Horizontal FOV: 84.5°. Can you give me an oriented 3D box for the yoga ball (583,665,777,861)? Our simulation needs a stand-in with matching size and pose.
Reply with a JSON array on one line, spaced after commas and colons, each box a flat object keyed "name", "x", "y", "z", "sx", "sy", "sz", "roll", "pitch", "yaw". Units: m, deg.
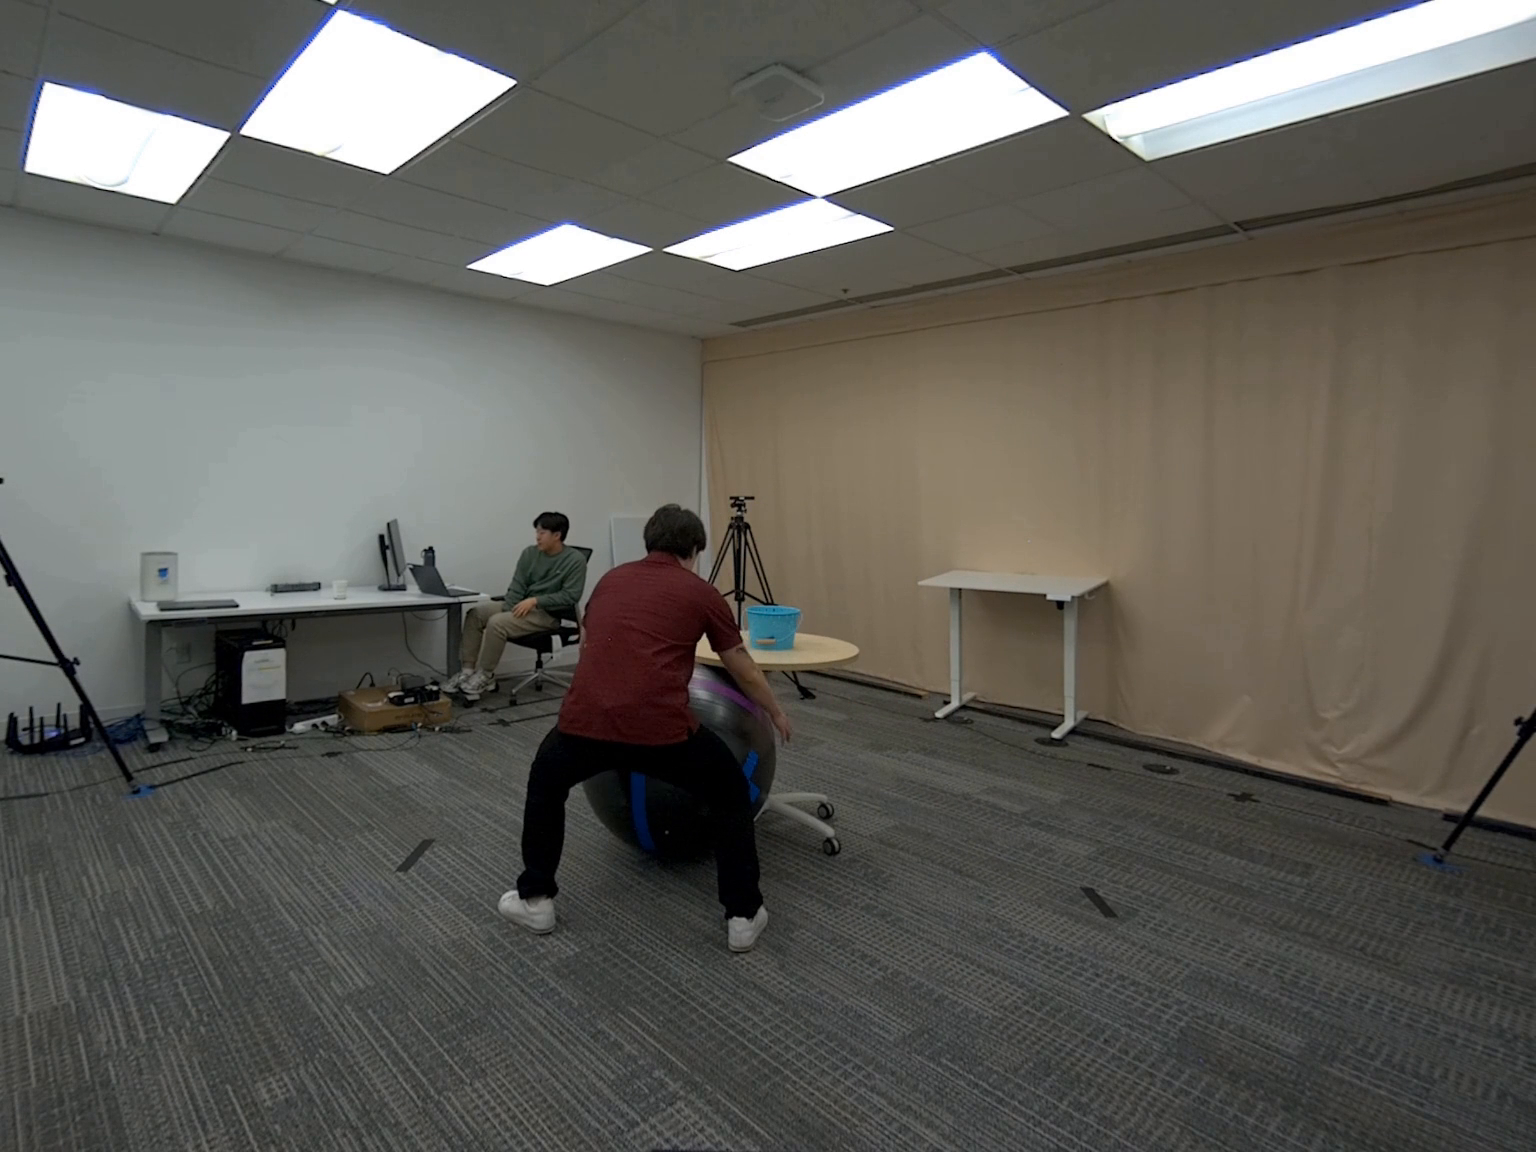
[{"name": "yoga ball", "x": -0.361, "y": 0.709, "z": 3.278, "sx": 0.757, "sy": 0.756, "sz": 0.761, "roll": 1, "pitch": 4, "yaw": -1}]
